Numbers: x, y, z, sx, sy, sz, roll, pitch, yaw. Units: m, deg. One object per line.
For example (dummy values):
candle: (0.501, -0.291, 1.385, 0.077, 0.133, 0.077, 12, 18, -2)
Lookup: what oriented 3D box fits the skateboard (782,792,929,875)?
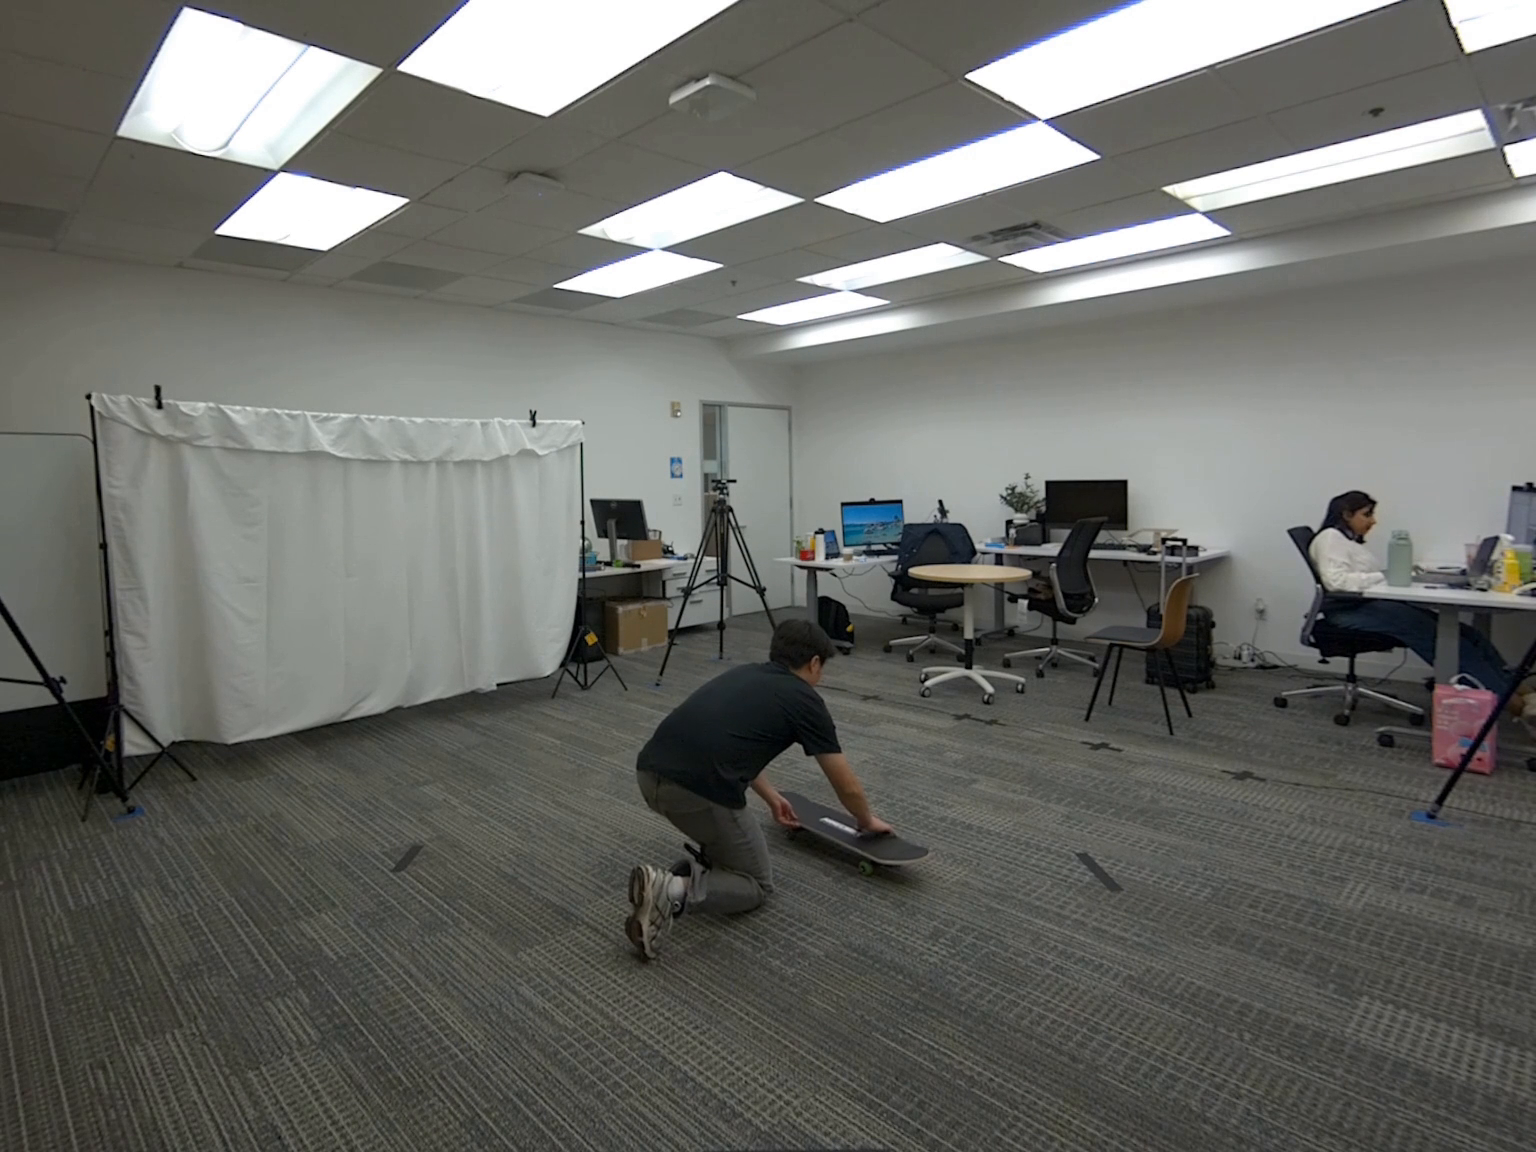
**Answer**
skateboard: (0.274, 0.970, 3.213, 0.188, 0.110, 0.810, -6, 8, -39)
